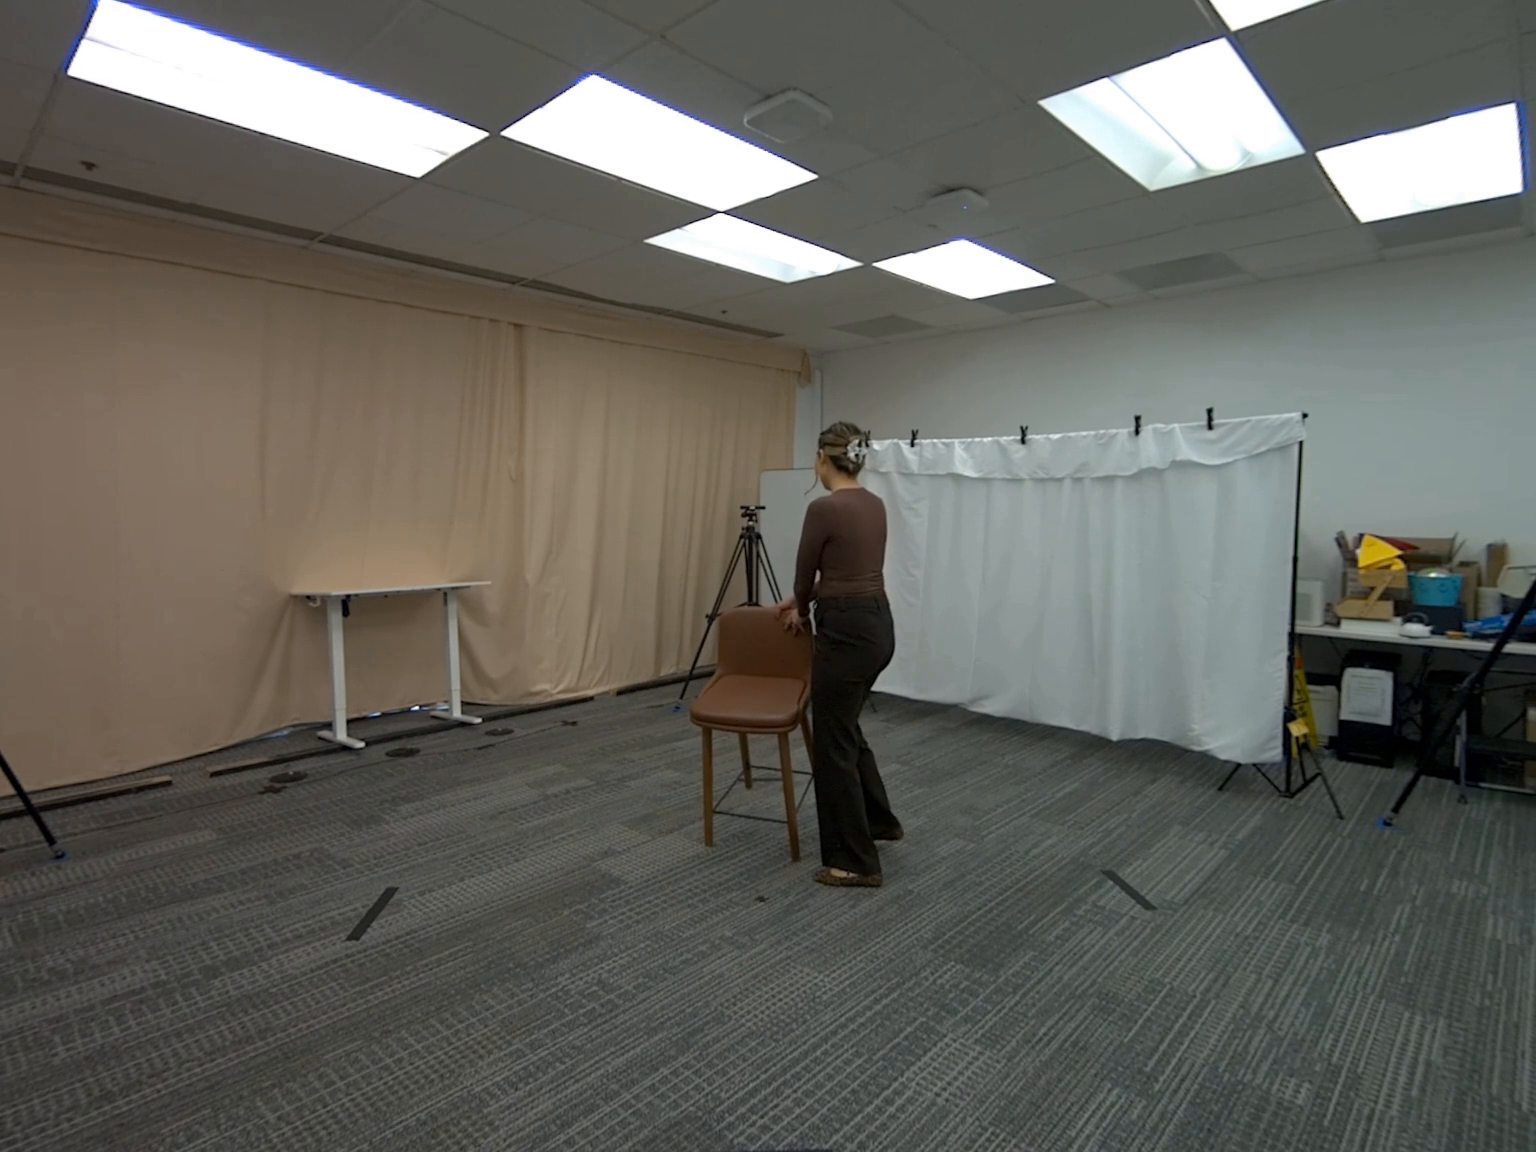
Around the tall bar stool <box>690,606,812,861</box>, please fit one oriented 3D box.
[{"bbox_3d":[-0.036,0.627,3.449,0.468,0.880,0.461,2,17,23],"label":"tall bar stool"}]
